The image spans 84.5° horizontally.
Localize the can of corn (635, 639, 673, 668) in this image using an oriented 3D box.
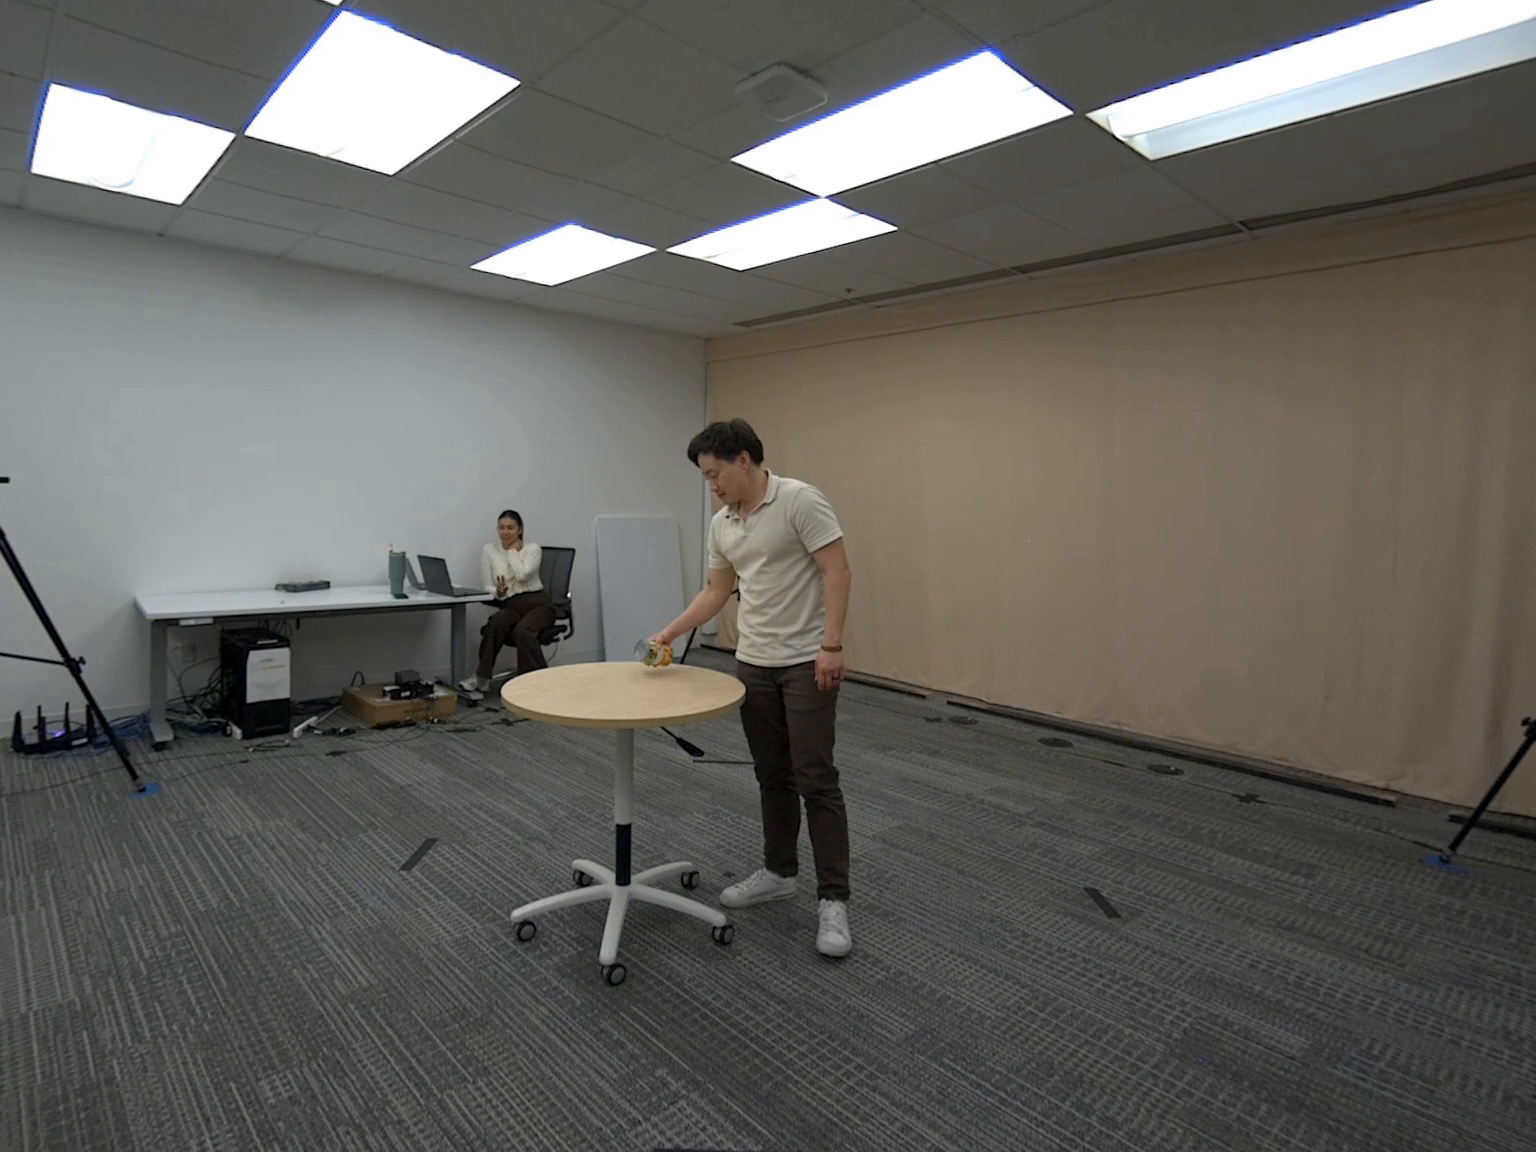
[{"bbox_3d":[-0.390,0.262,2.857,0.108,0.074,0.076,19,-7,-37],"label":"can of corn"}]
